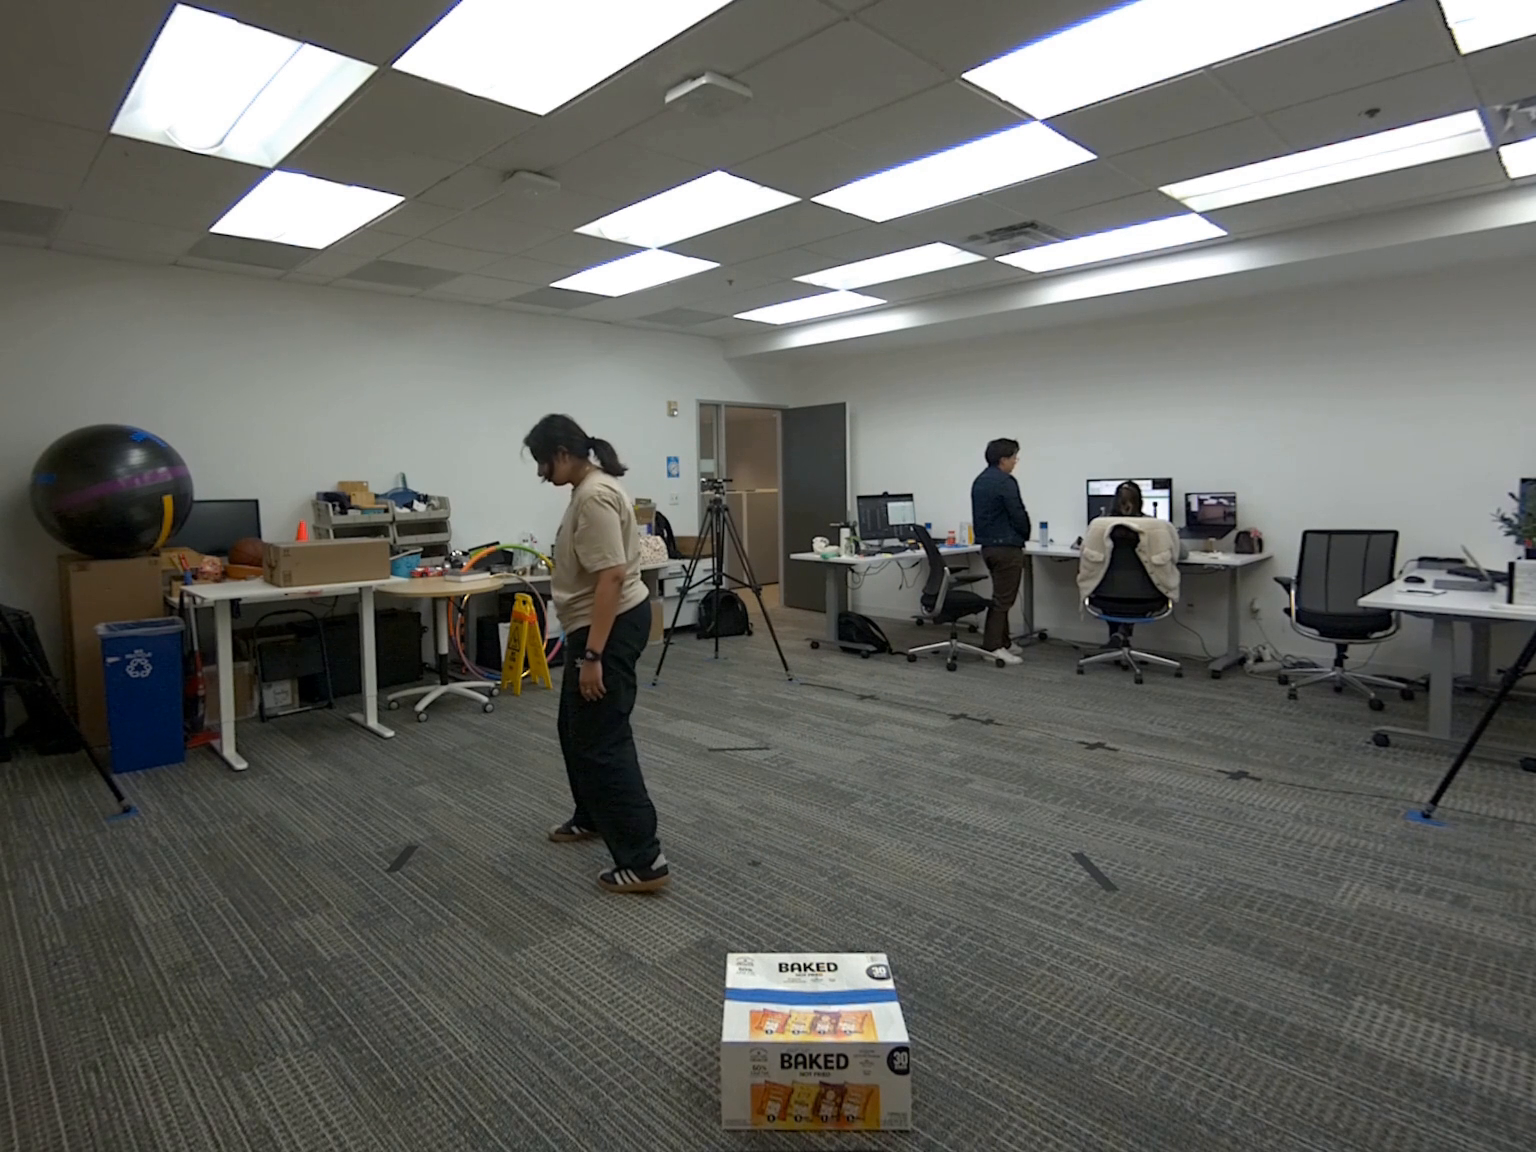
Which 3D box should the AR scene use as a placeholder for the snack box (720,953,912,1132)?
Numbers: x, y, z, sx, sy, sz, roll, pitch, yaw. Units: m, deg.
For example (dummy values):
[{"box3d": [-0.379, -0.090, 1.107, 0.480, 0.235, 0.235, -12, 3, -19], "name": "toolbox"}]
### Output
[{"box3d": [0.106, 1.079, 1.988, 0.406, 0.205, 0.341, -1, 6, 1], "name": "snack box"}]
